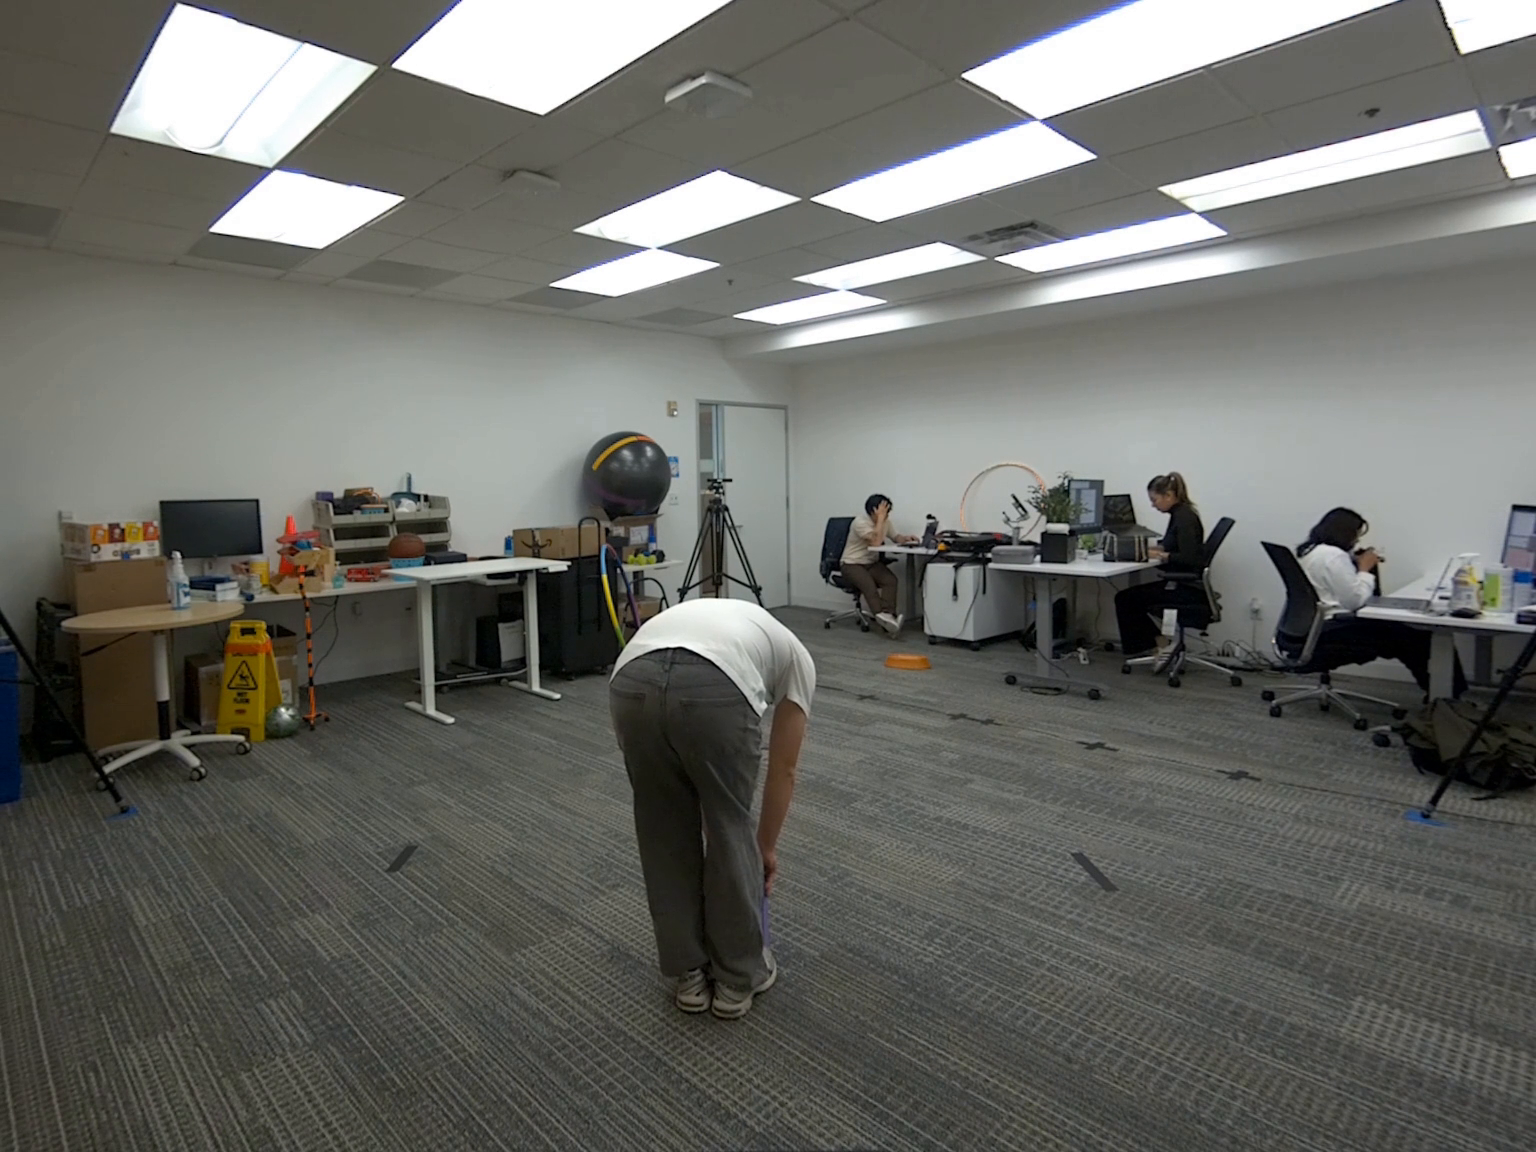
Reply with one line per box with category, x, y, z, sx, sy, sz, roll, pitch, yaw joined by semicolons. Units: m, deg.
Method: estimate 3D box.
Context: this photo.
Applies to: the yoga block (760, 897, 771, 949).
yoga block;-0.062;1.007;2.544;0.150;0.228;0.076;0;4;11
